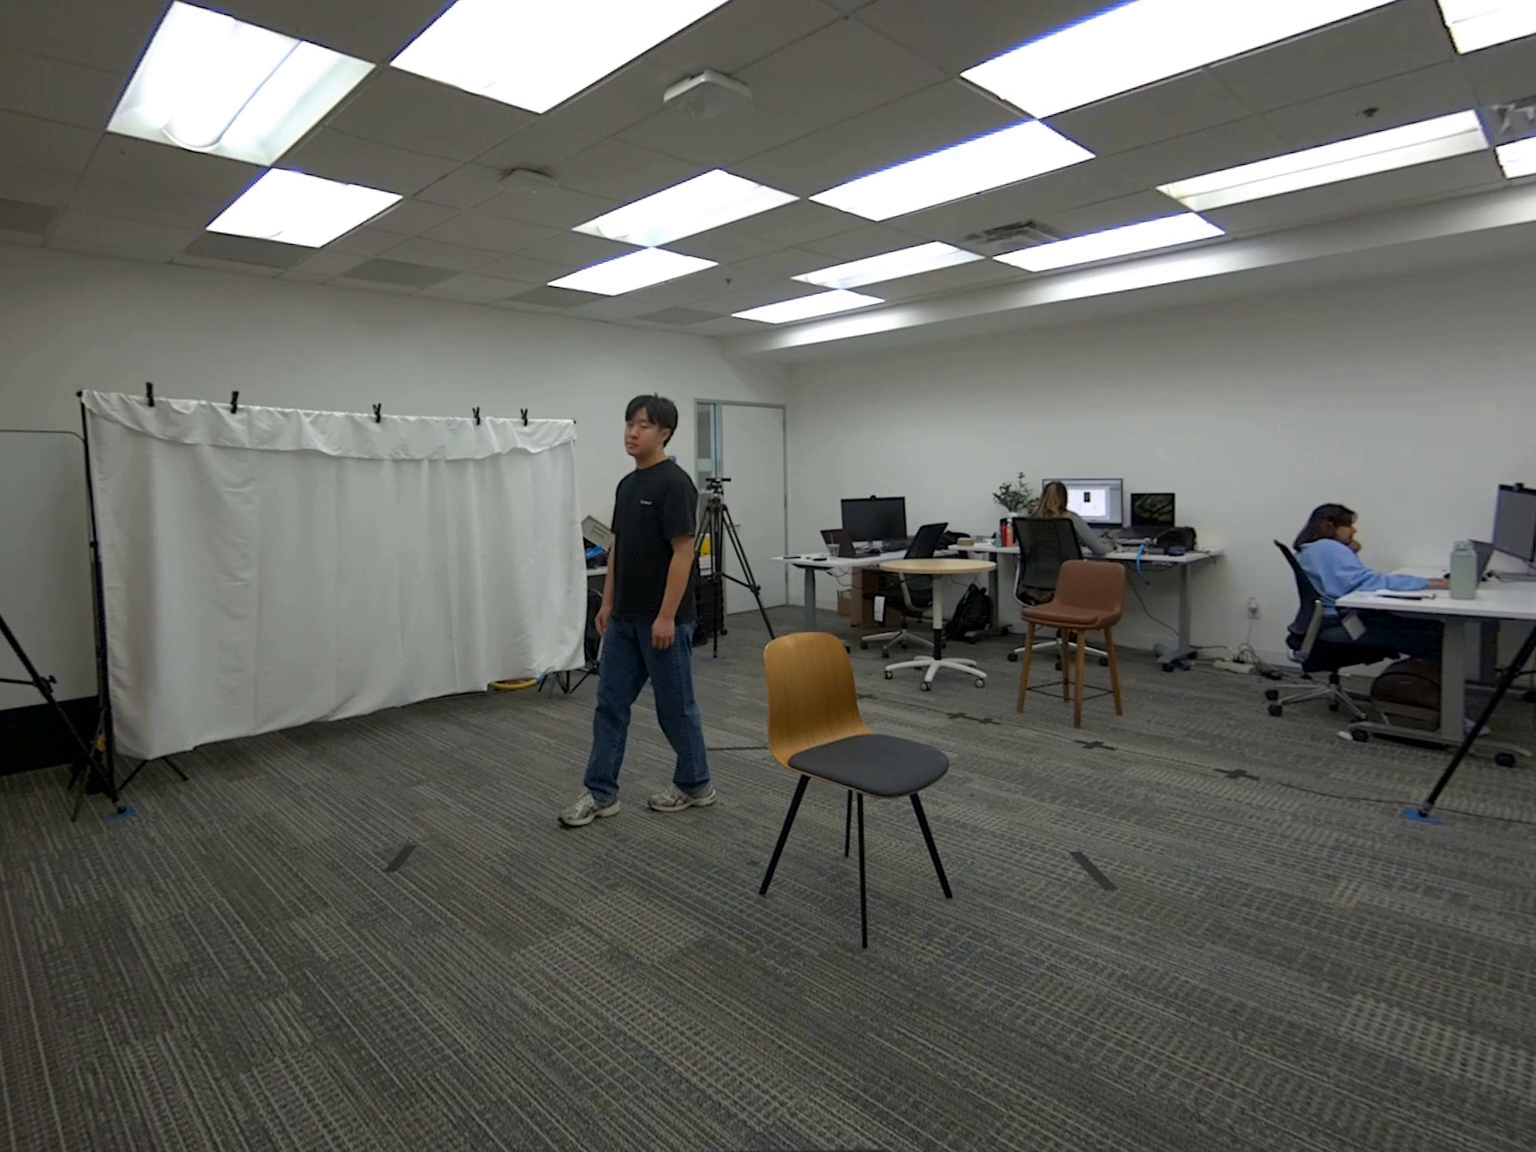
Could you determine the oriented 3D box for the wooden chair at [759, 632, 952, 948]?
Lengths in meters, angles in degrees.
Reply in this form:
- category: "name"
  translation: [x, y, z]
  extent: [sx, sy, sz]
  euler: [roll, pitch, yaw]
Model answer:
- category: "wooden chair"
  translation: [0.291, 0.643, 2.806]
  extent: [0.465, 0.877, 0.538]
  euler: [-4, 1, -43]
